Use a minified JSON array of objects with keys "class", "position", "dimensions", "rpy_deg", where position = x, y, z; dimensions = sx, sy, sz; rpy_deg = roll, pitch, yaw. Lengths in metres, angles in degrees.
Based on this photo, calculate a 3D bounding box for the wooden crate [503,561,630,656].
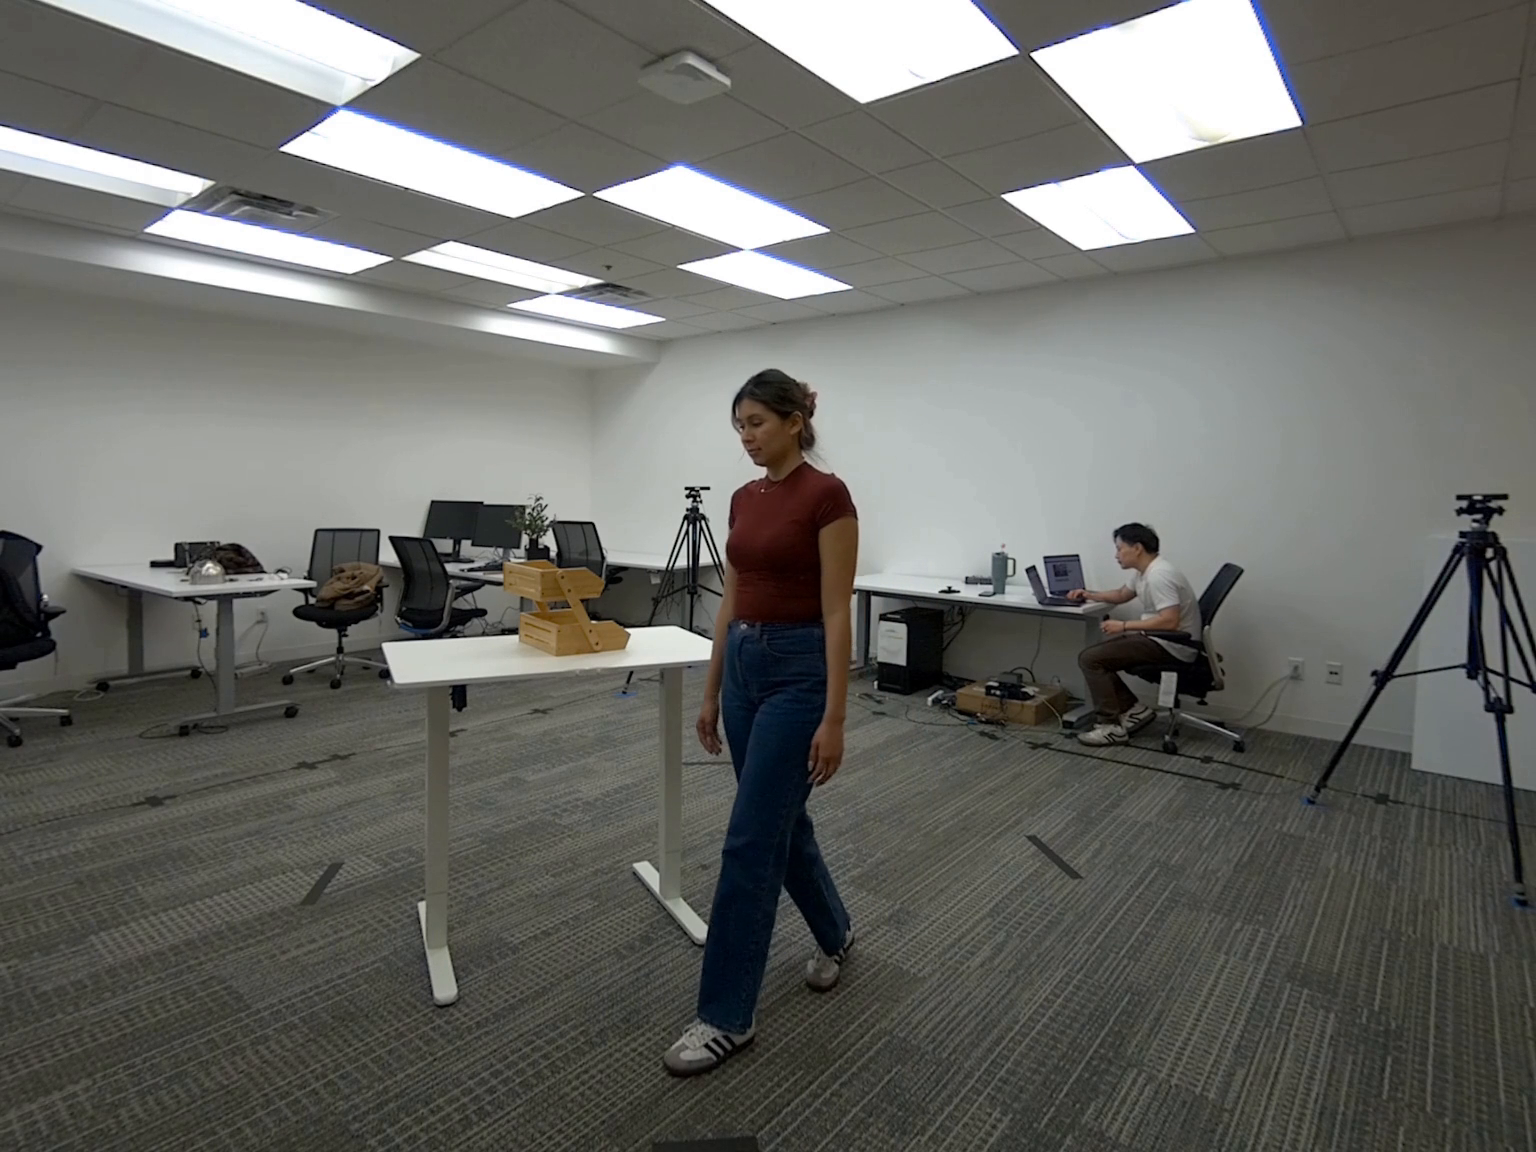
[{"class":"wooden crate","position":[-0.652,0.087,2.693],"dimensions":[0.293,0.272,0.335],"rpy_deg":[-3,6,-37]}]
